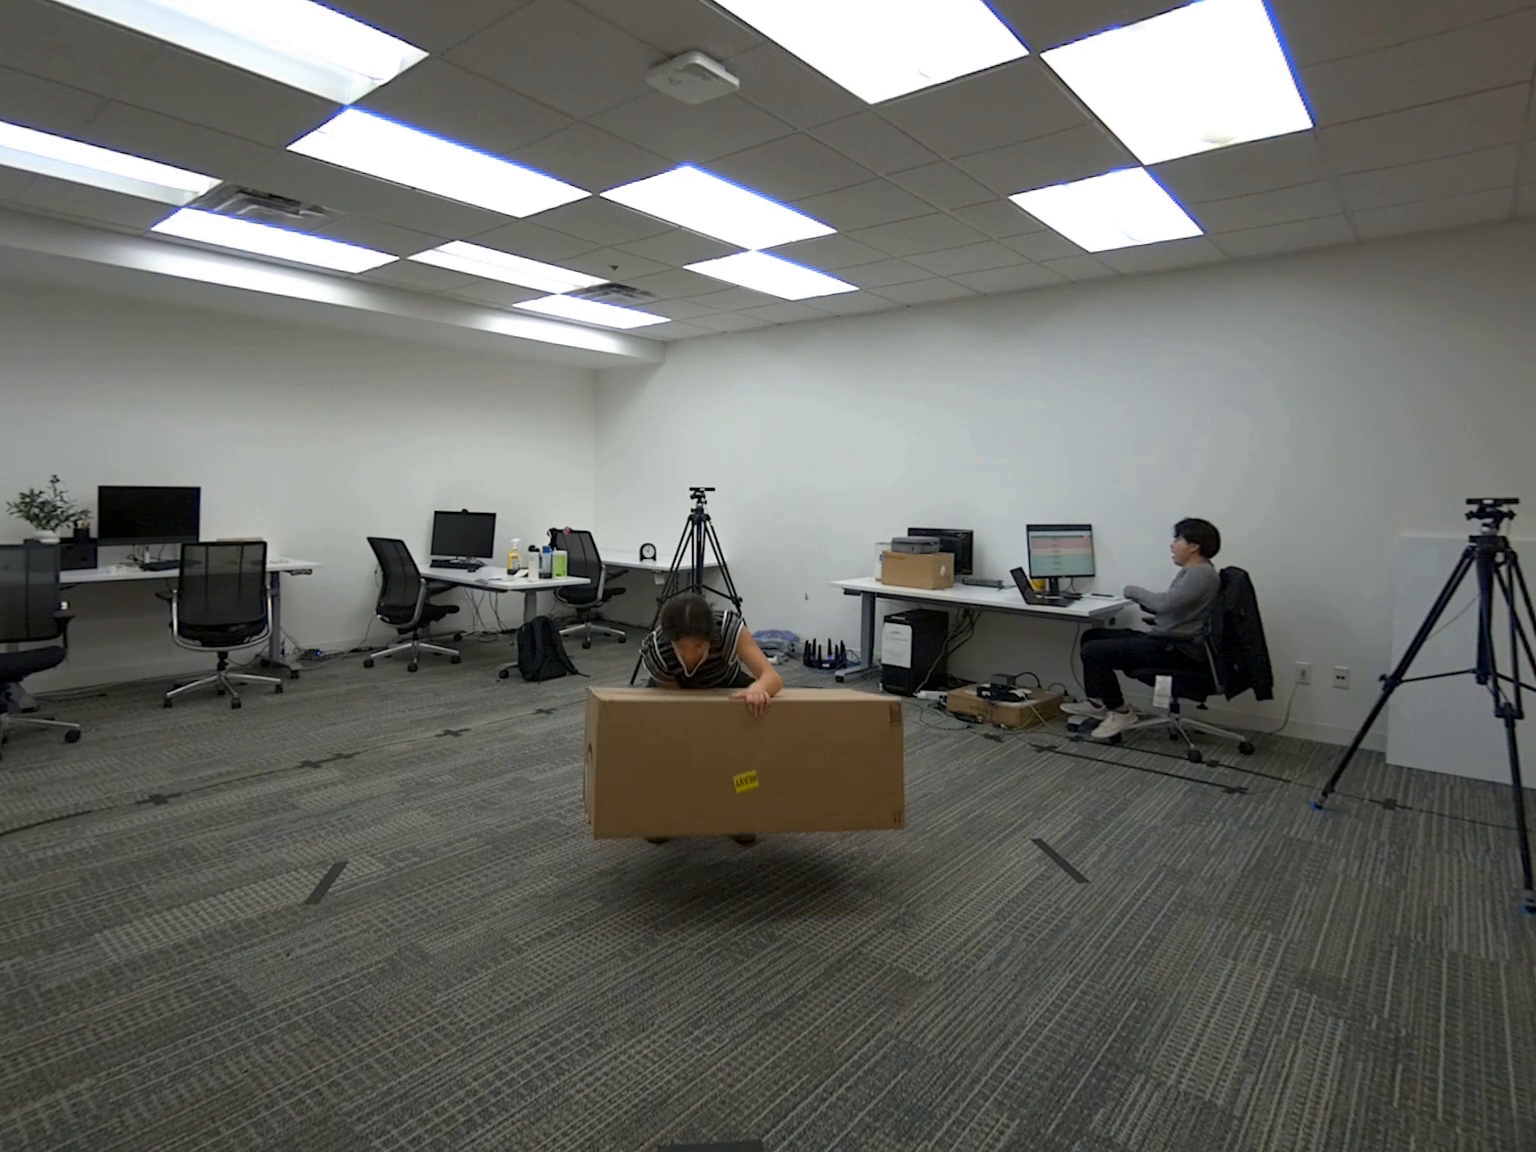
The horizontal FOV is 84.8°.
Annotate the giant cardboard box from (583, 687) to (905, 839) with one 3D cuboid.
[{"bbox_3d":[-0.124,0.618,2.994,1.012,0.429,0.582,3,-6,-13],"label":"giant cardboard box"}]
